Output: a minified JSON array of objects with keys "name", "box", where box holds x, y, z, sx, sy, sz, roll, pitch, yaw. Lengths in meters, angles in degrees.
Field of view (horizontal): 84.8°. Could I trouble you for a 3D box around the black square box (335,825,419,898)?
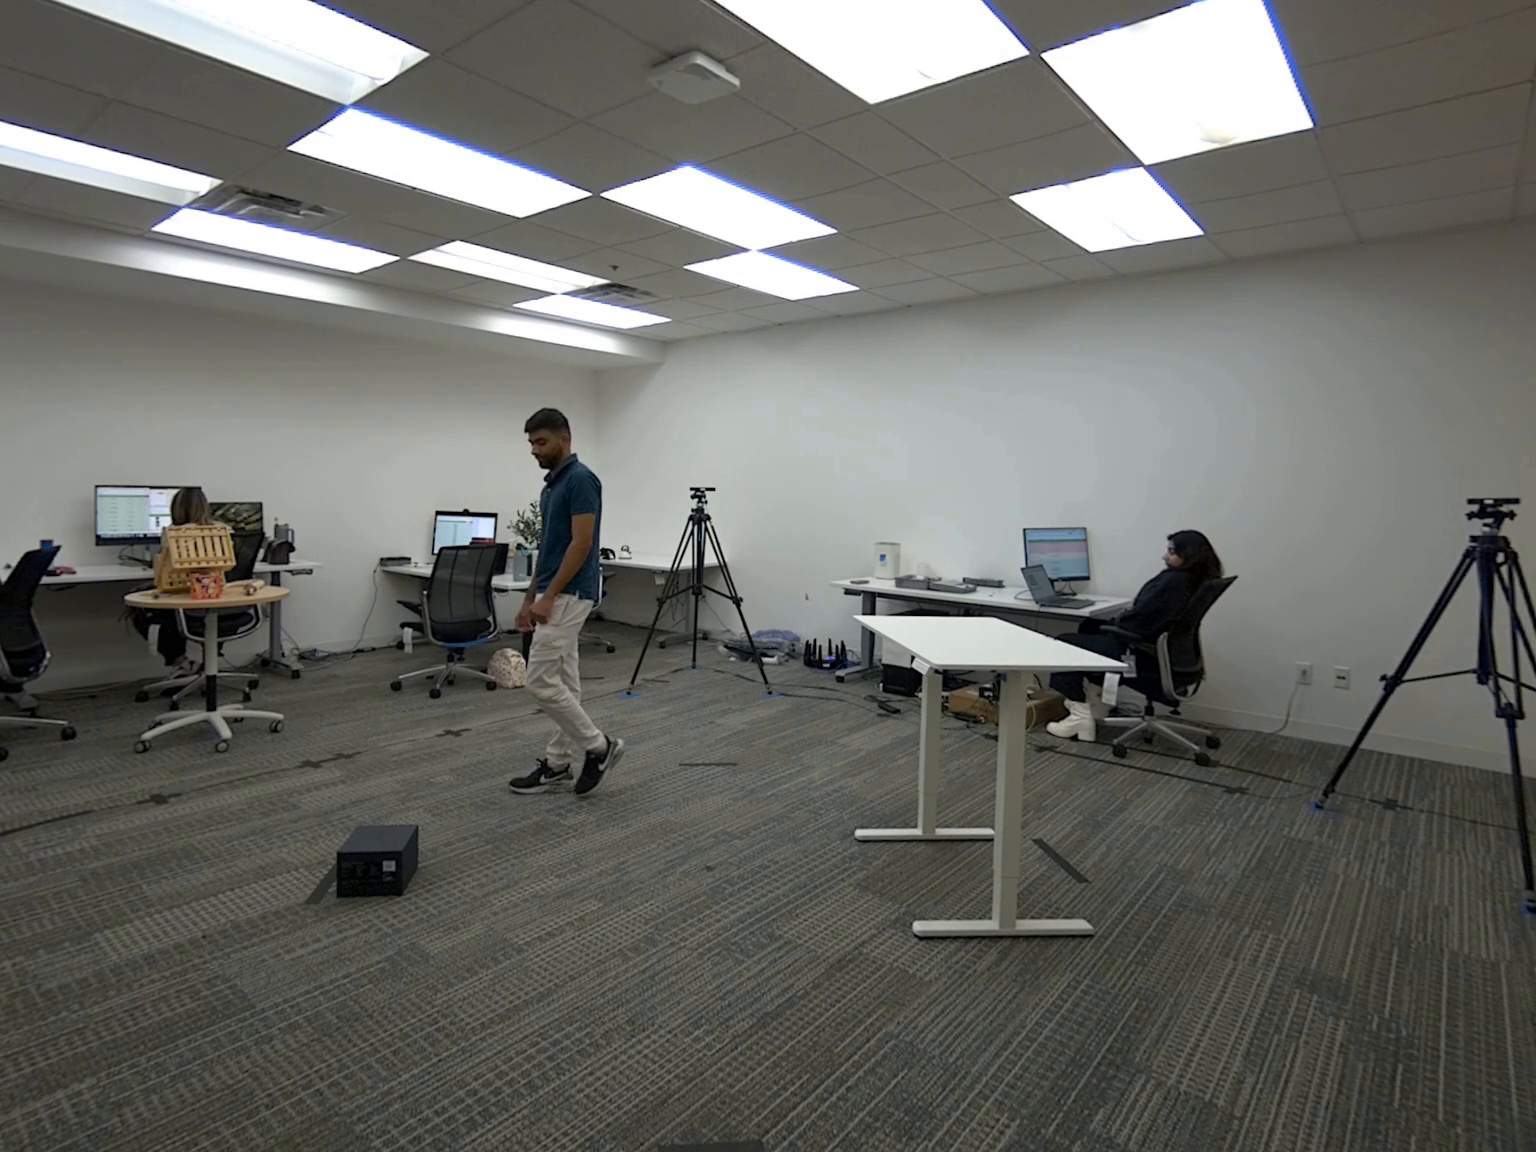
[{"name":"black square box","box":[-1.366,0.981,2.956,0.215,0.155,0.231,0,5,-8]}]
